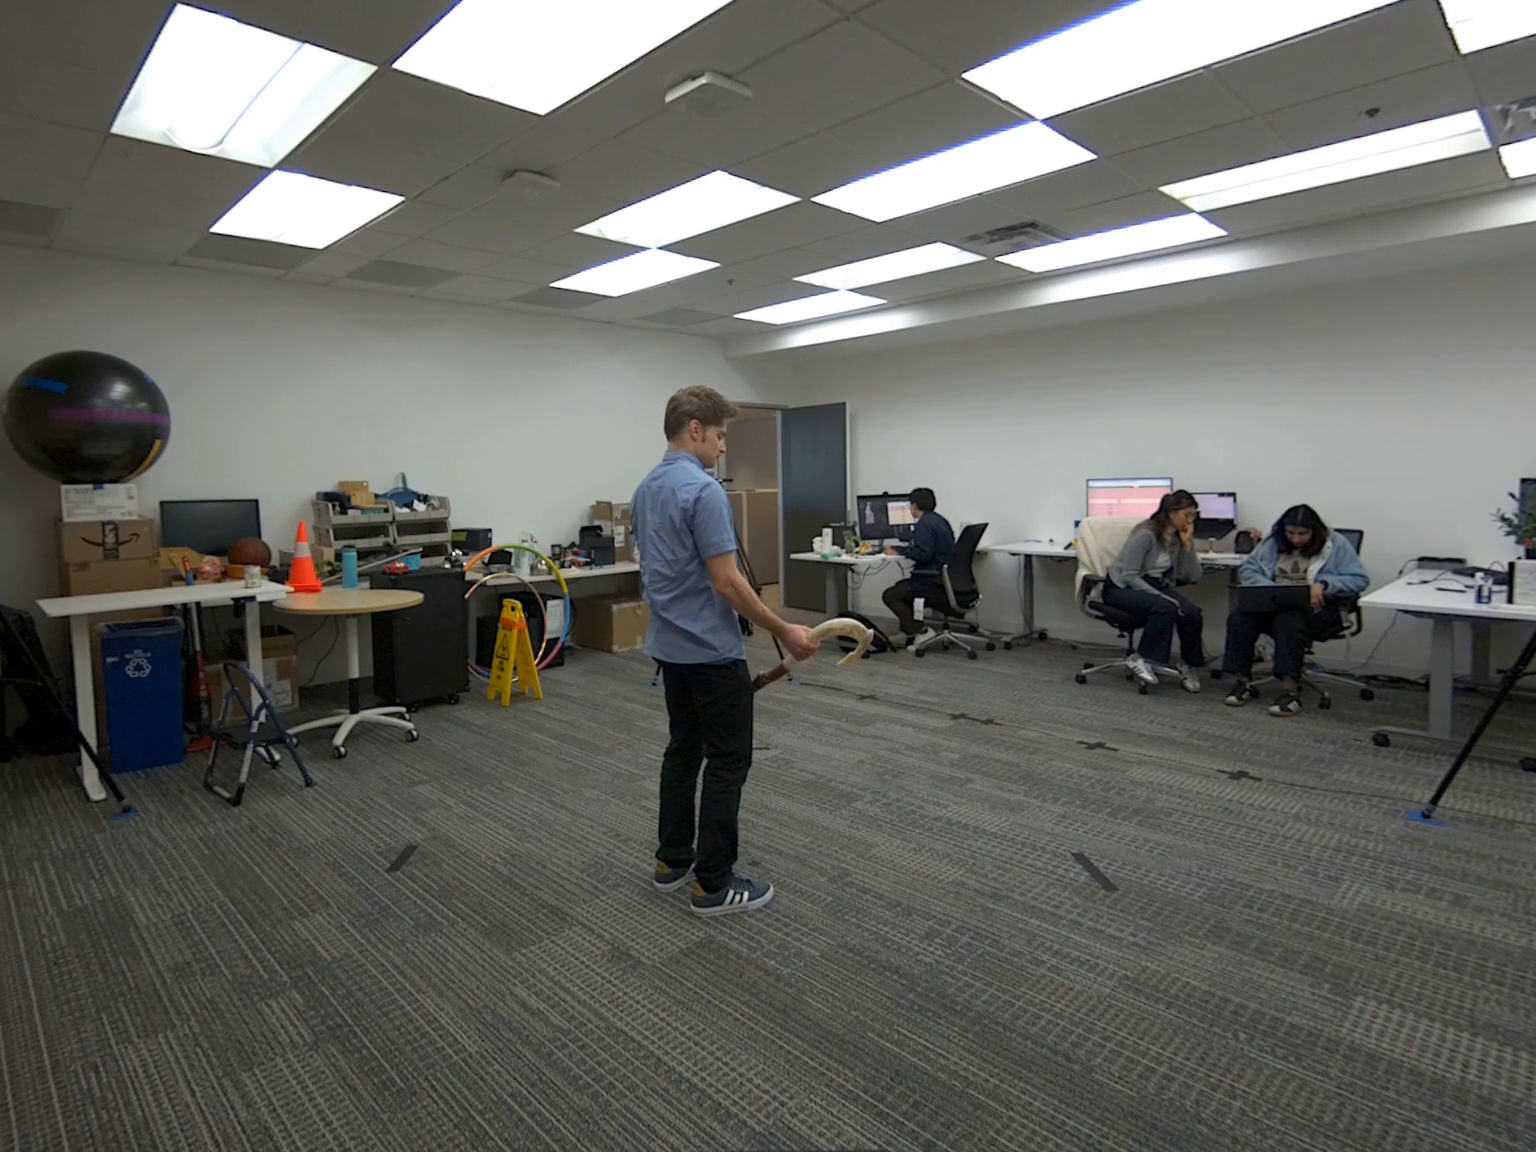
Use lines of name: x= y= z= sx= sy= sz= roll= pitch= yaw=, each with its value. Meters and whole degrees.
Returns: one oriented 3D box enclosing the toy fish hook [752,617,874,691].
toy fish hook: x=0.134 y=0.272 z=2.867 sx=0.217 sy=0.049 sz=0.509 roll=35 pitch=-55 yaw=-28
